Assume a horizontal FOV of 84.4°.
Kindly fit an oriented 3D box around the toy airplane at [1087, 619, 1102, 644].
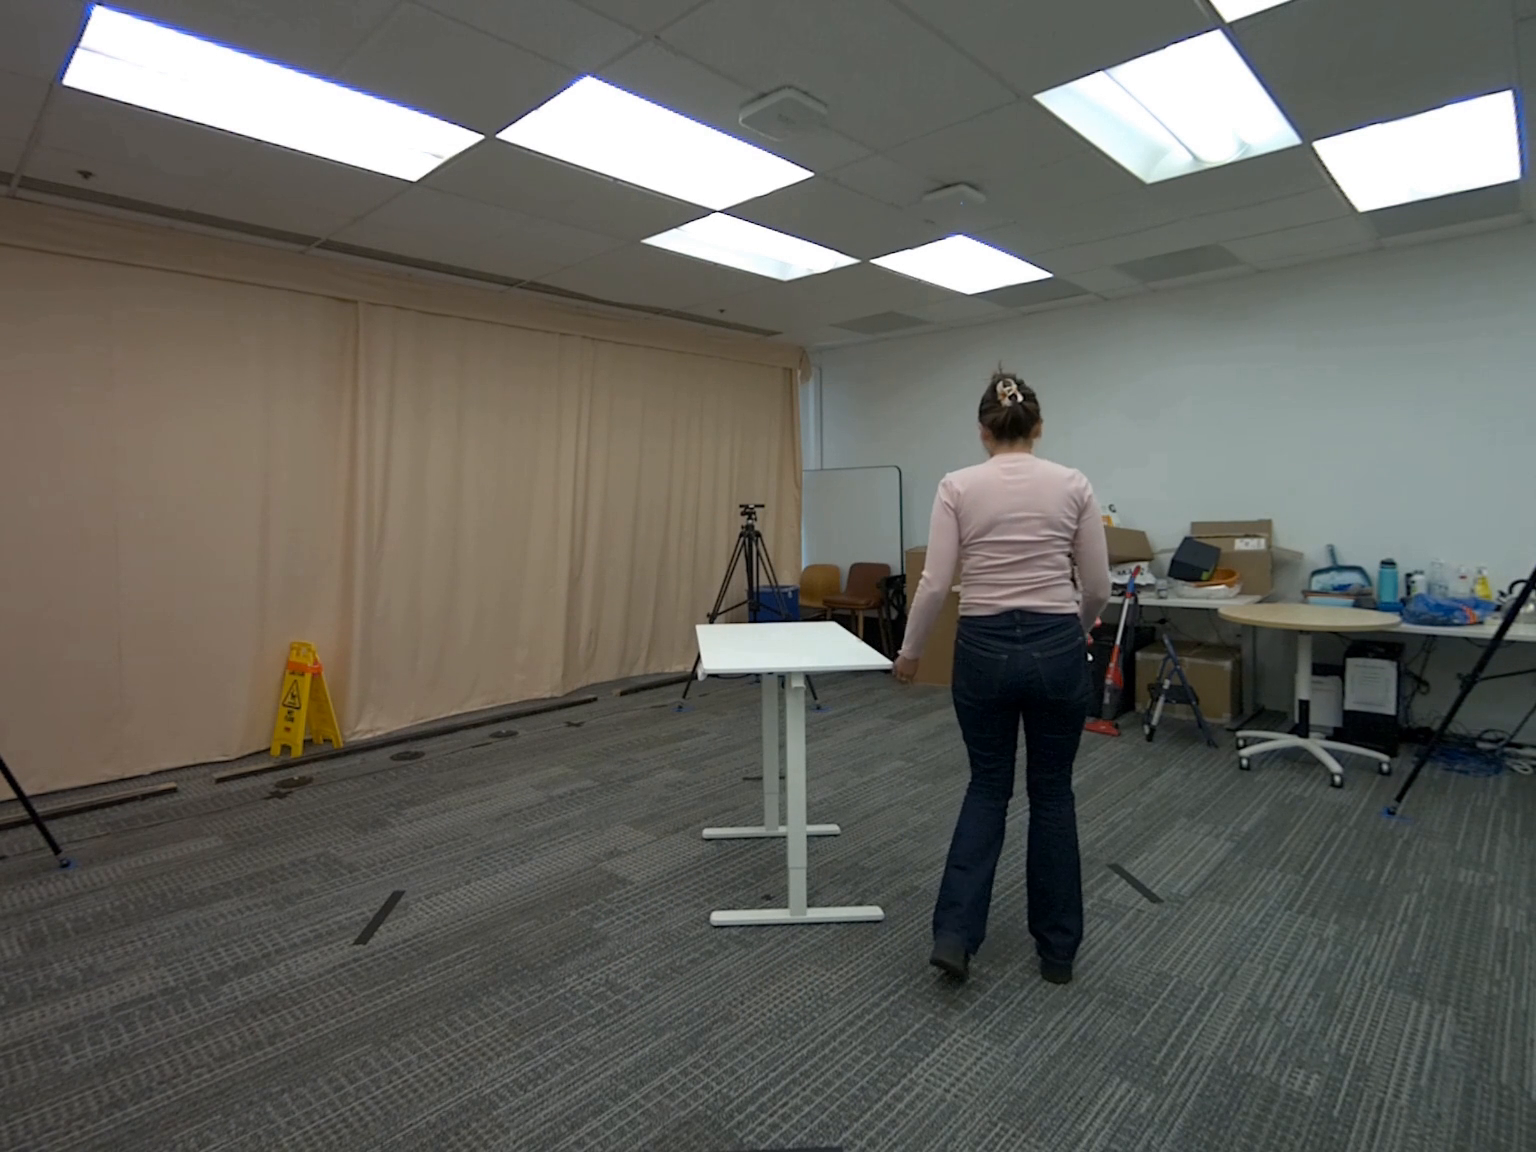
[{"bbox_3d":[0.965,0.193,2.749,0.245,0.155,0.268,-2,21,-28],"label":"toy airplane"}]
